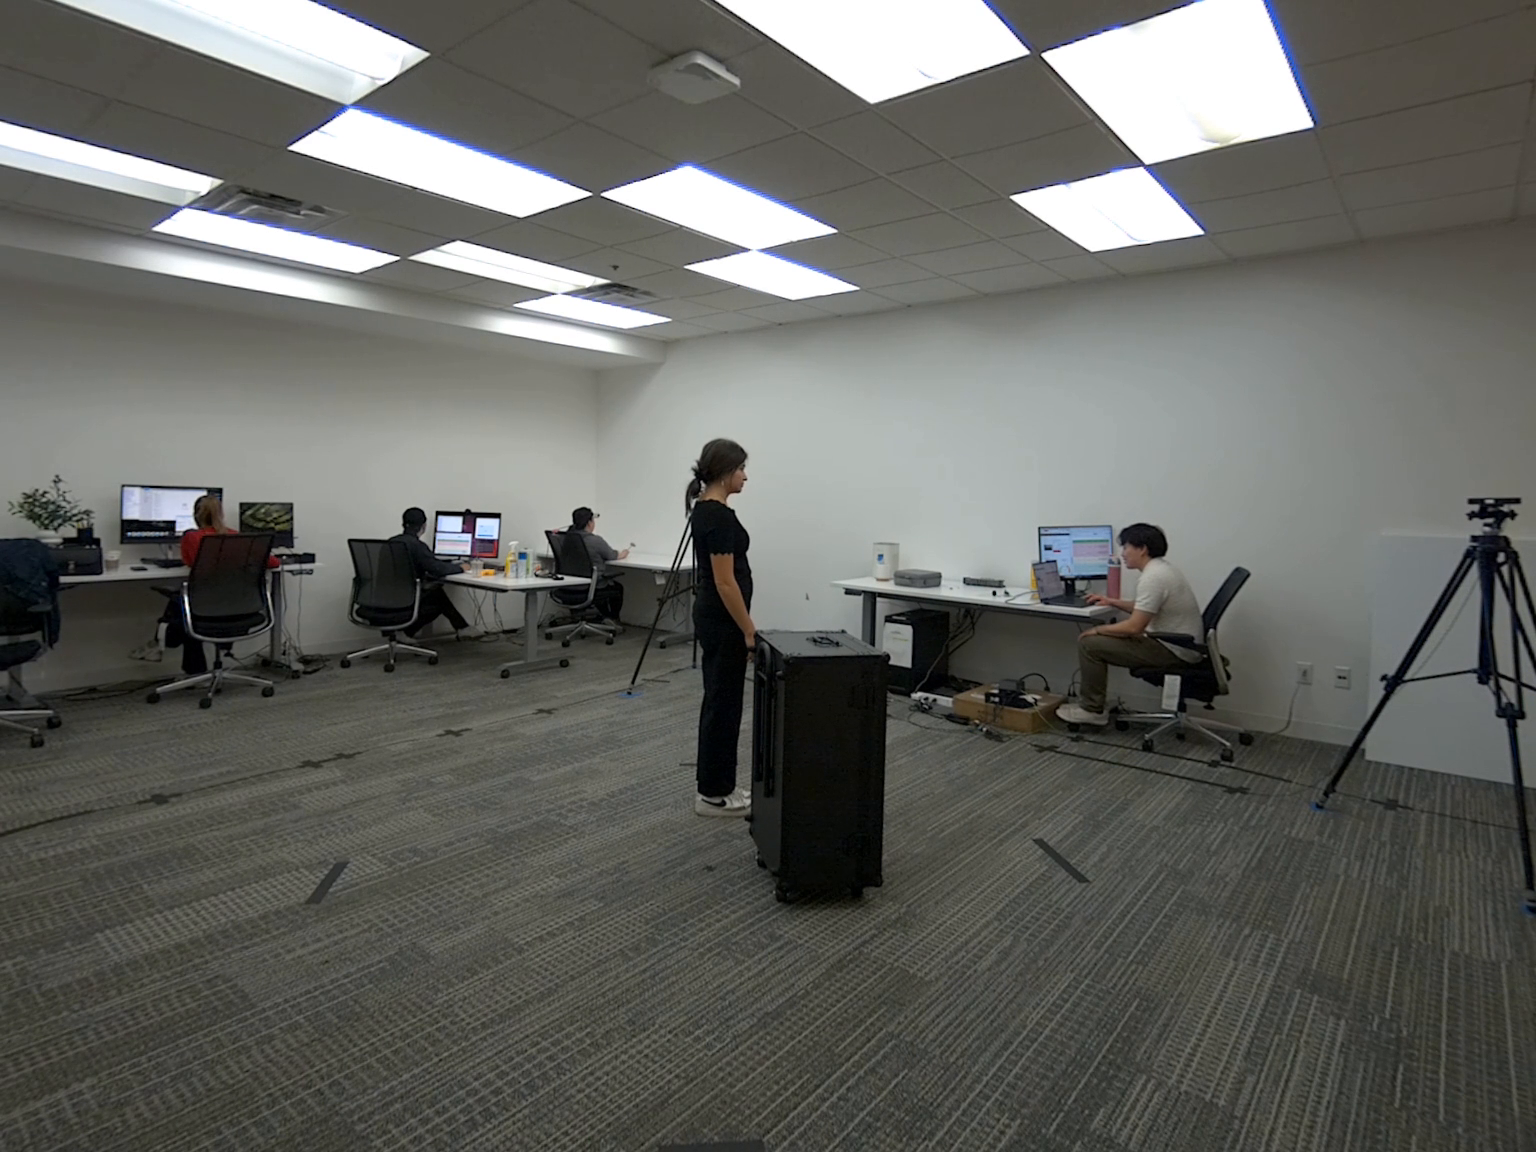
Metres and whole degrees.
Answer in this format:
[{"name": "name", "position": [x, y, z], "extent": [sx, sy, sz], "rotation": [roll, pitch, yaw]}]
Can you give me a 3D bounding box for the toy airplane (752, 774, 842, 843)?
[{"name": "toy airplane", "position": [0.117, 0.956, 3.487], "extent": [0.251, 0.156, 0.259], "rotation": [-1, 5, -38]}]
